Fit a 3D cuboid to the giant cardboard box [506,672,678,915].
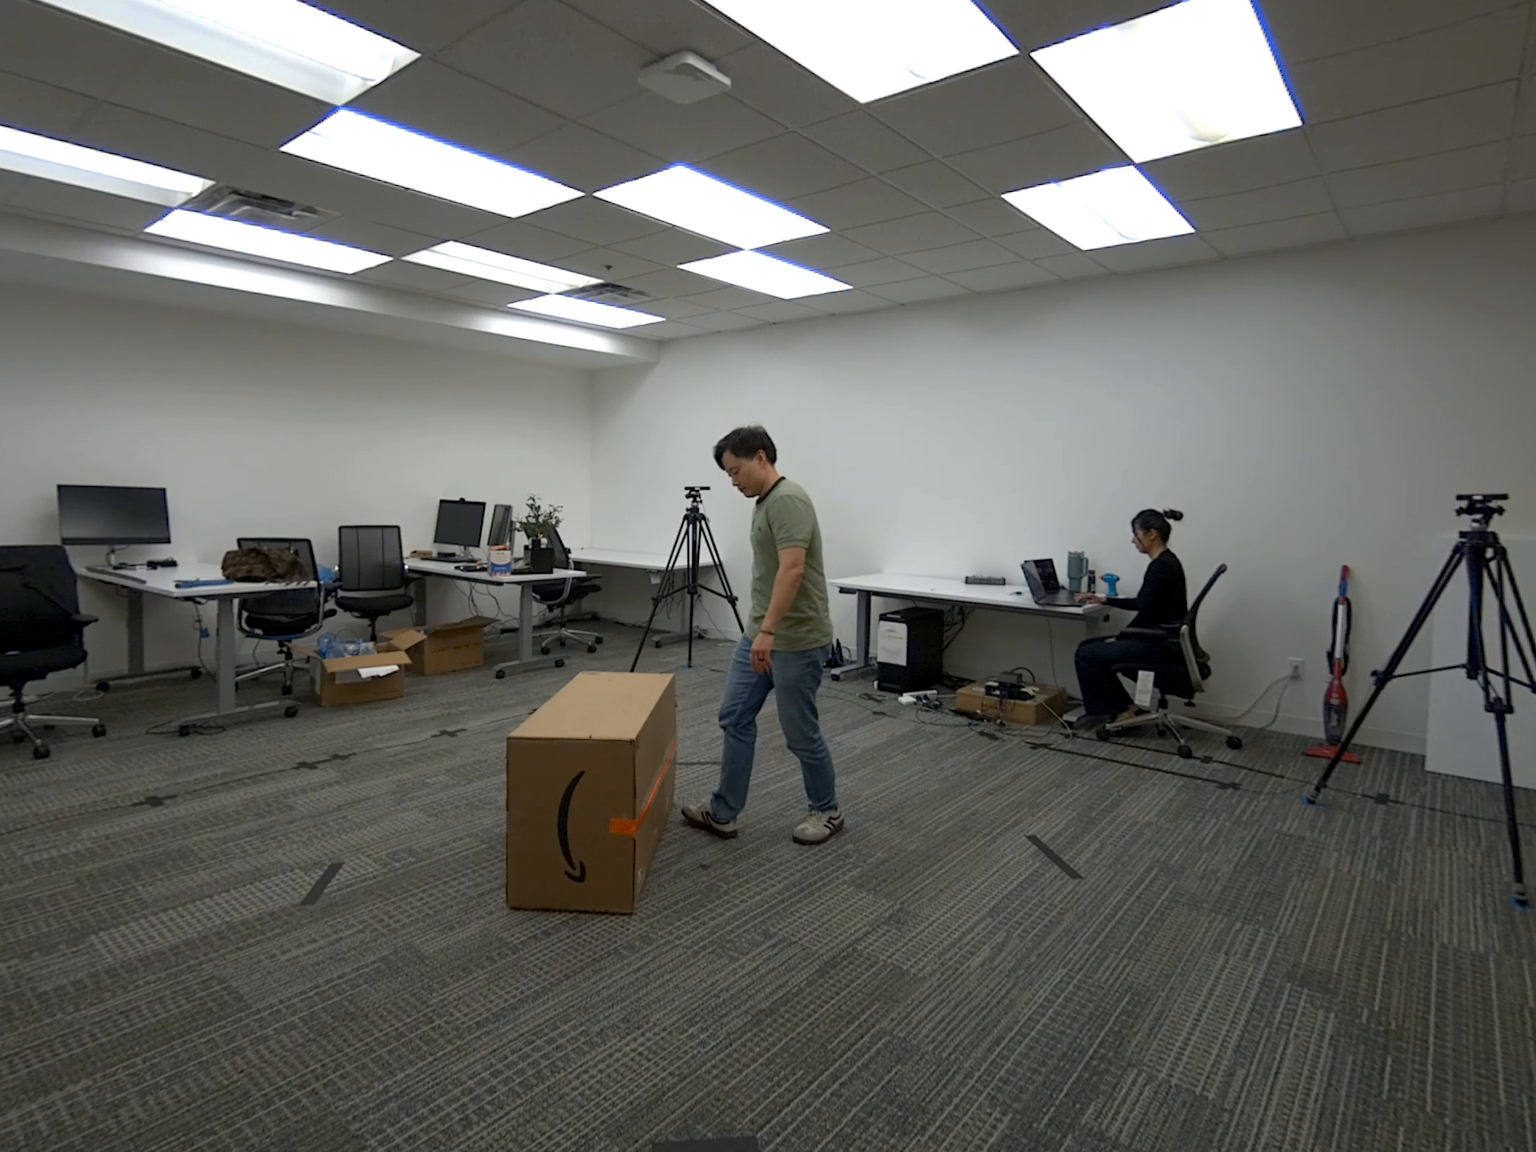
[{"bbox_3d":[-0.640,0.755,3.255,0.427,0.575,1.027,1,5,1],"label":"giant cardboard box"}]
